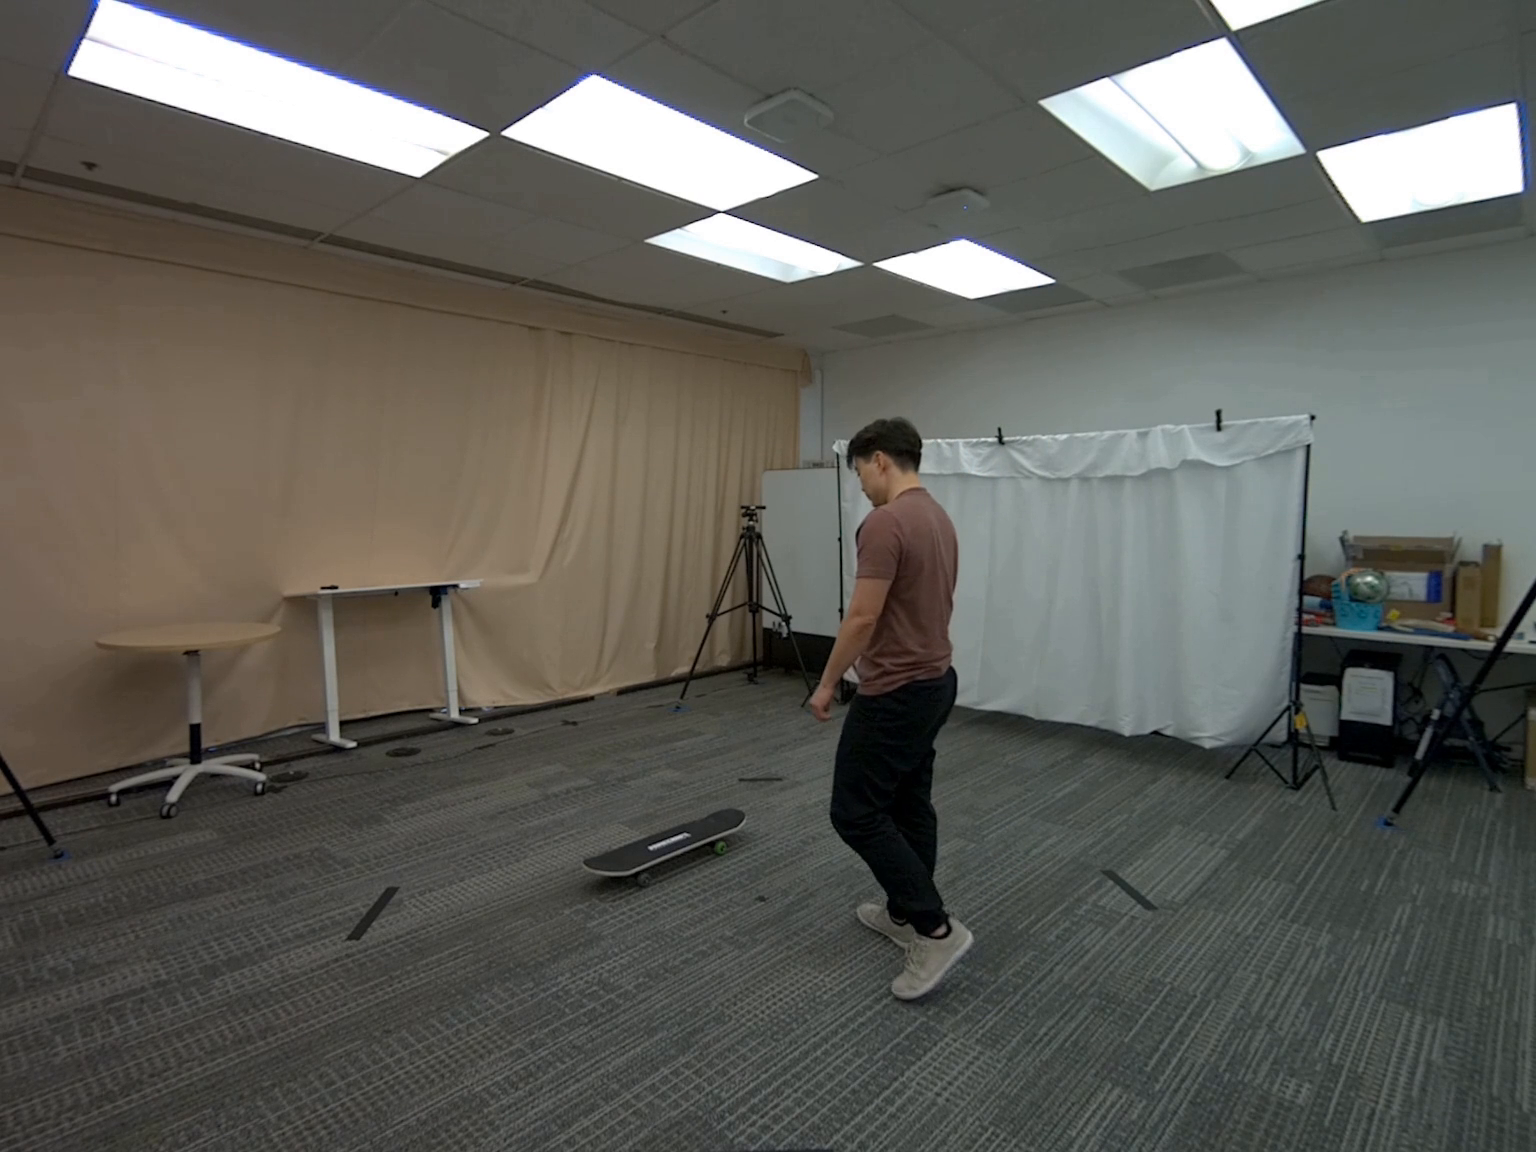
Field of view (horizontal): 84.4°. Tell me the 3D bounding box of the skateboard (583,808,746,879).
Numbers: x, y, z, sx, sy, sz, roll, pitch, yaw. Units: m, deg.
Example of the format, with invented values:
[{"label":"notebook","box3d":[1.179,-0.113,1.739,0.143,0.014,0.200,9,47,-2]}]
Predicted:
[{"label":"skateboard","box3d":[-0.388,1.067,3.278,0.200,0.110,0.761,1,5,44]}]
